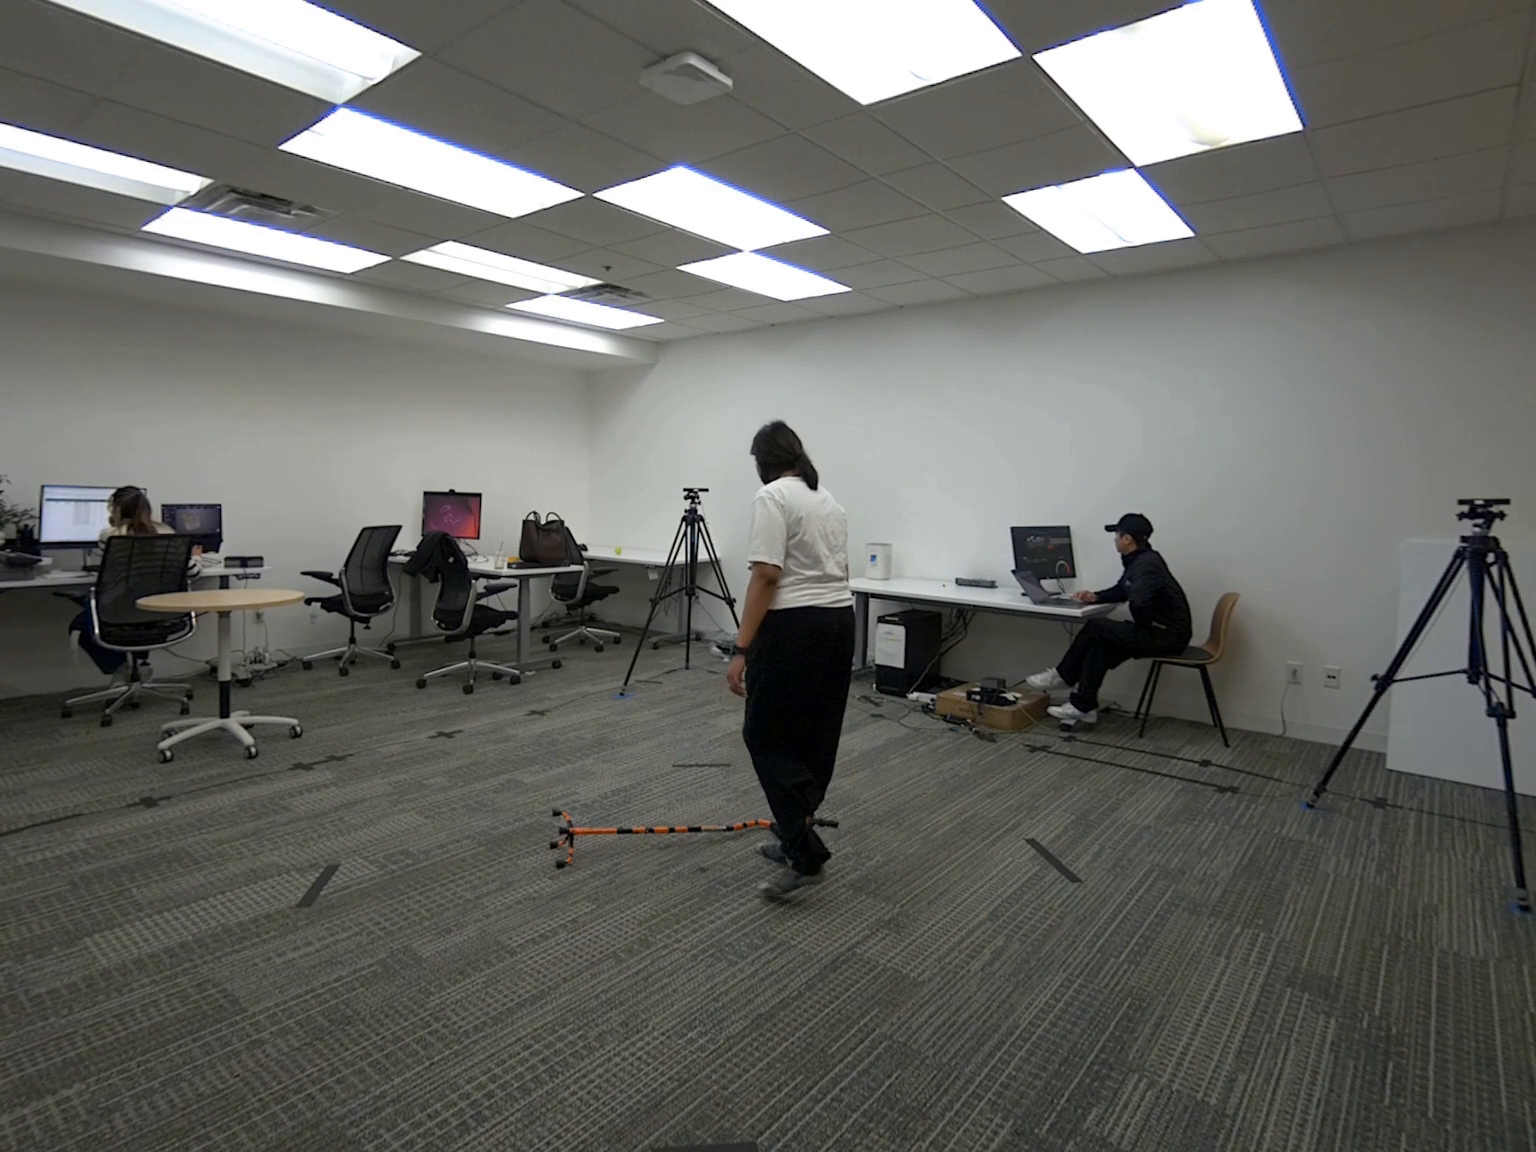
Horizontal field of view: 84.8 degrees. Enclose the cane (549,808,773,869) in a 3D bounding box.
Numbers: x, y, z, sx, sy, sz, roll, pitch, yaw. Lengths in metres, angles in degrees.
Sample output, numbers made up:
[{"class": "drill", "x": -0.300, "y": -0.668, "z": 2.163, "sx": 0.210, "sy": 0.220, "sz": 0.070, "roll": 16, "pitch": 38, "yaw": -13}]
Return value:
[{"class": "cane", "x": -0.390, "y": 0.997, "z": 3.322, "sx": 0.889, "sy": 0.151, "sz": 0.211, "roll": 4, "pitch": 2, "yaw": -19}]
